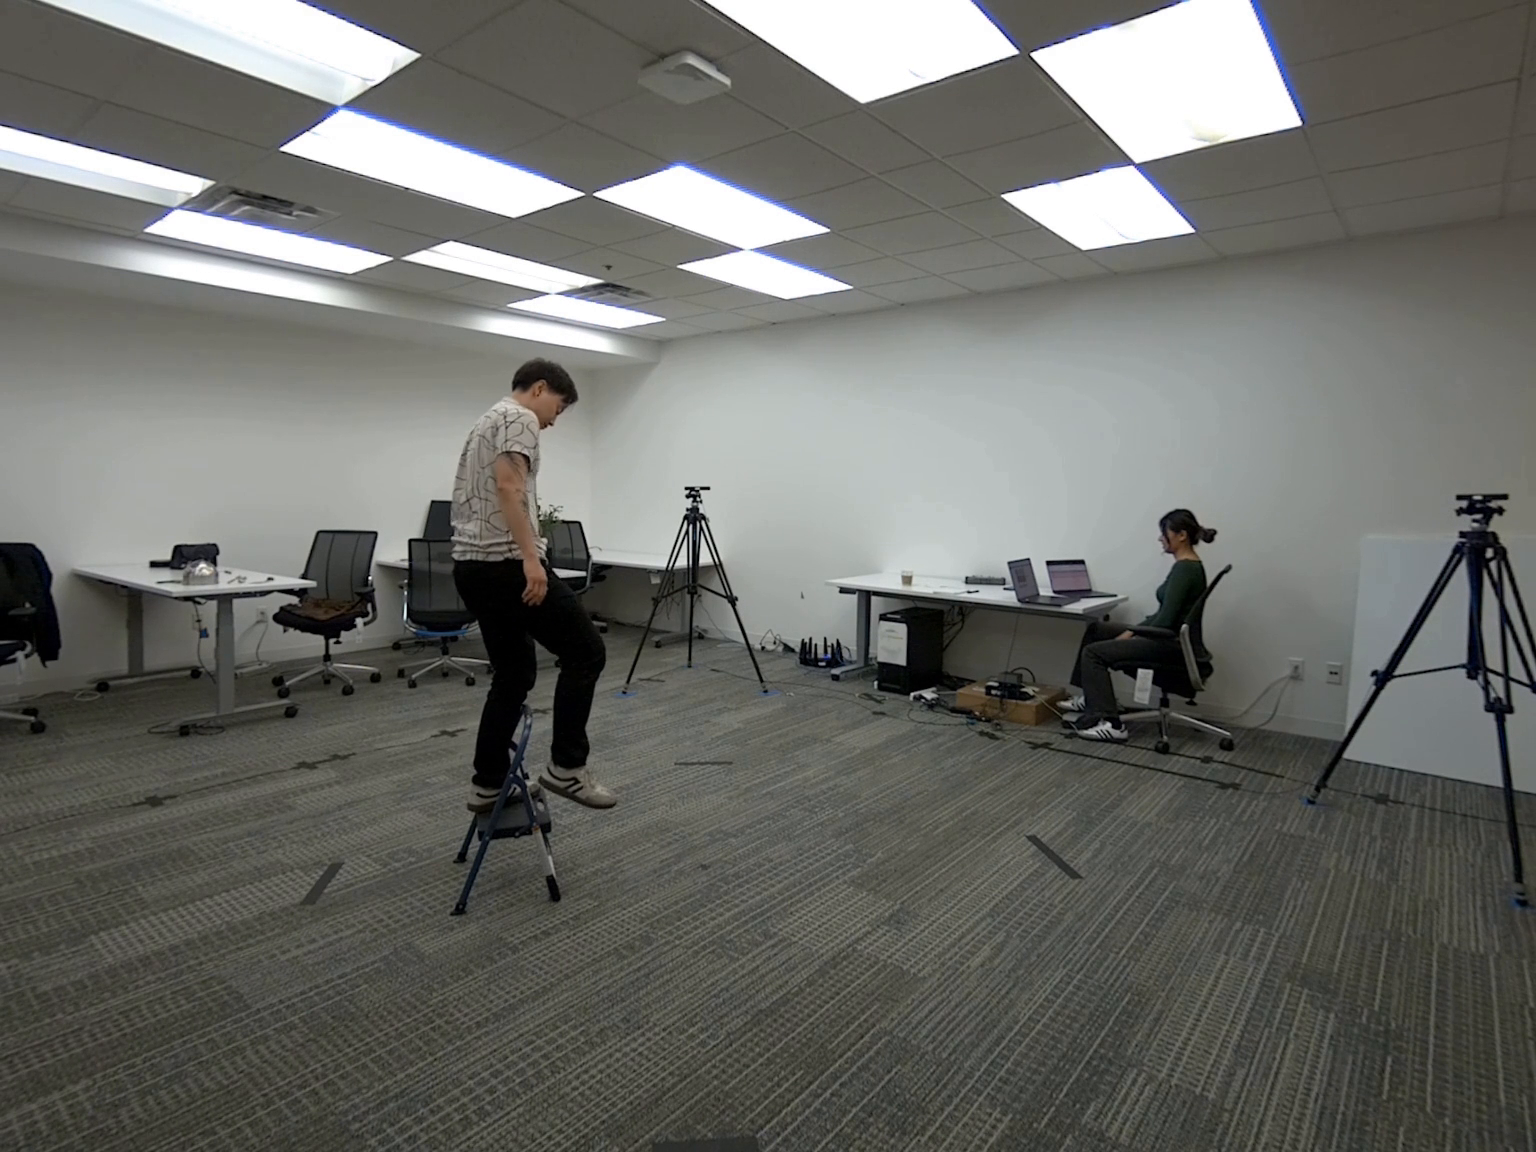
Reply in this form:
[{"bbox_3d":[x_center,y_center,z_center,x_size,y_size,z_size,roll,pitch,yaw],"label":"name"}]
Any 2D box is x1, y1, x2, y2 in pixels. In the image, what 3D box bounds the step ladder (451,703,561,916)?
[{"bbox_3d":[-0.932,0.773,2.972,0.343,0.604,0.440,-1,4,-19],"label":"step ladder"}]
